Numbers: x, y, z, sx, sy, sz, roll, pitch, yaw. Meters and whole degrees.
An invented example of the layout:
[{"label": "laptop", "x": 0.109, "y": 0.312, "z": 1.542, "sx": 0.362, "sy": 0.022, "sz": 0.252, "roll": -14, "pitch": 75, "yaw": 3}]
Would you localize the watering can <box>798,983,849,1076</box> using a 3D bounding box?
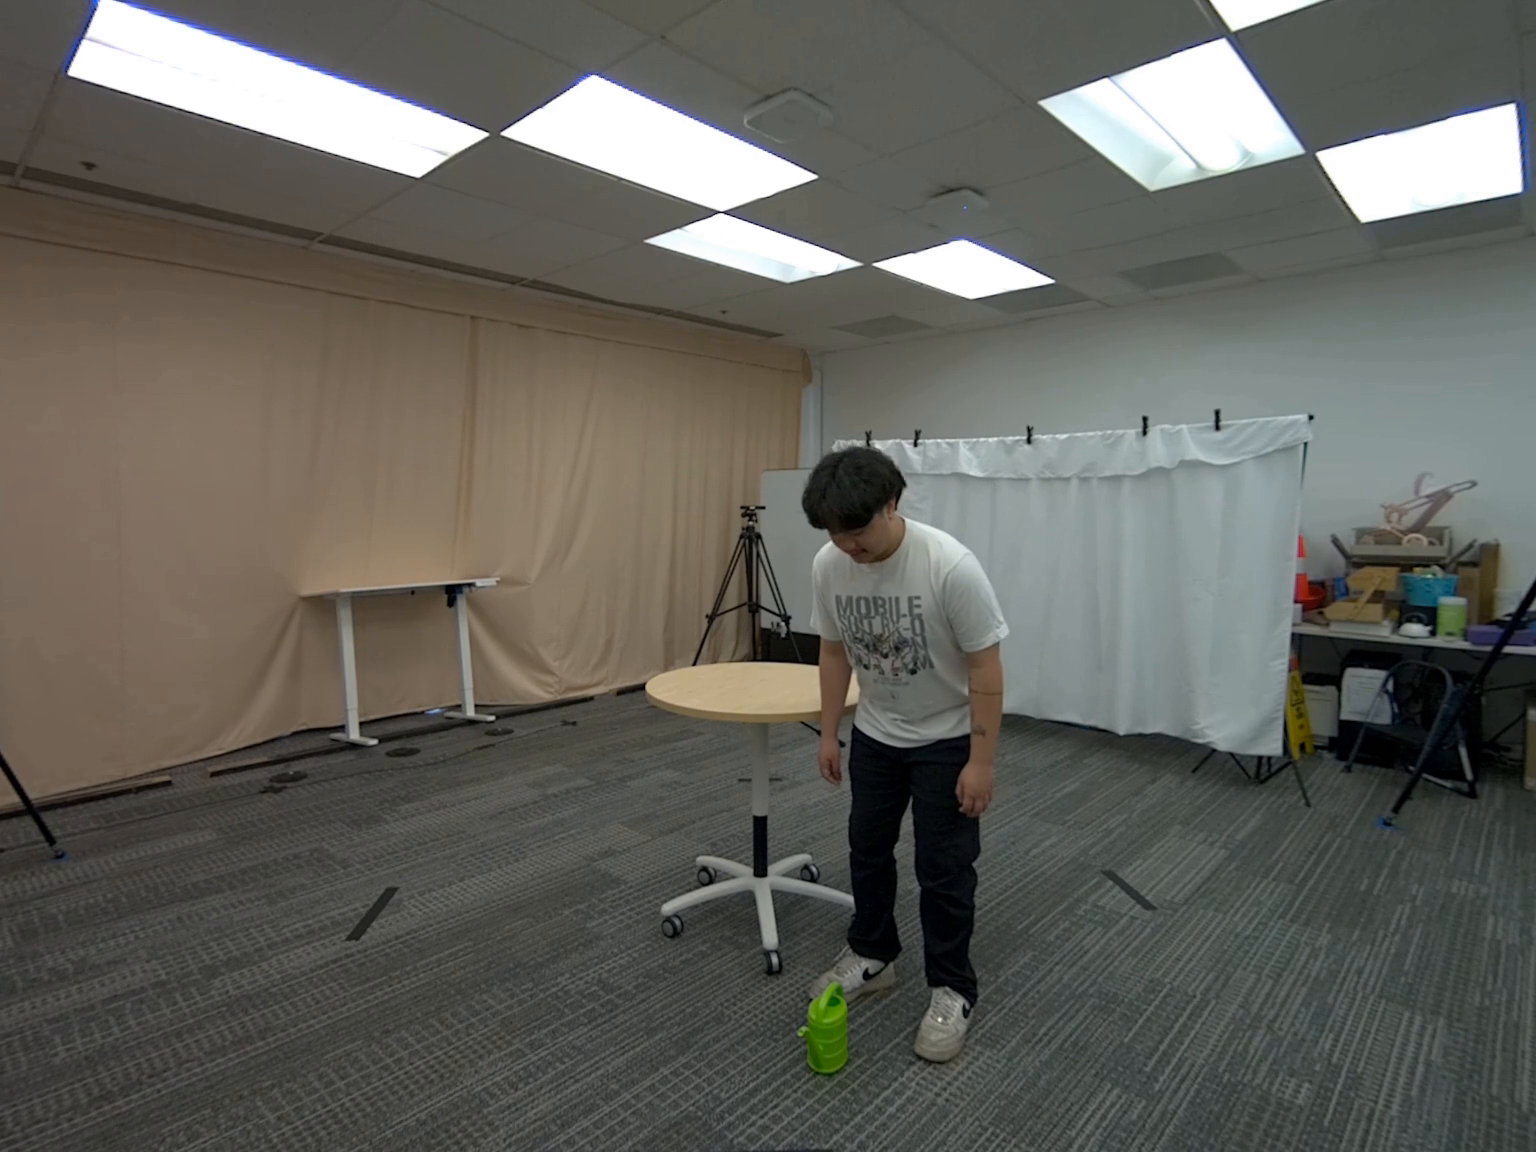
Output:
[{"label": "watering can", "x": 0.130, "y": 1.138, "z": 2.065, "sx": 0.101, "sy": 0.176, "sz": 0.270, "roll": 2, "pitch": 3, "yaw": 37}]
